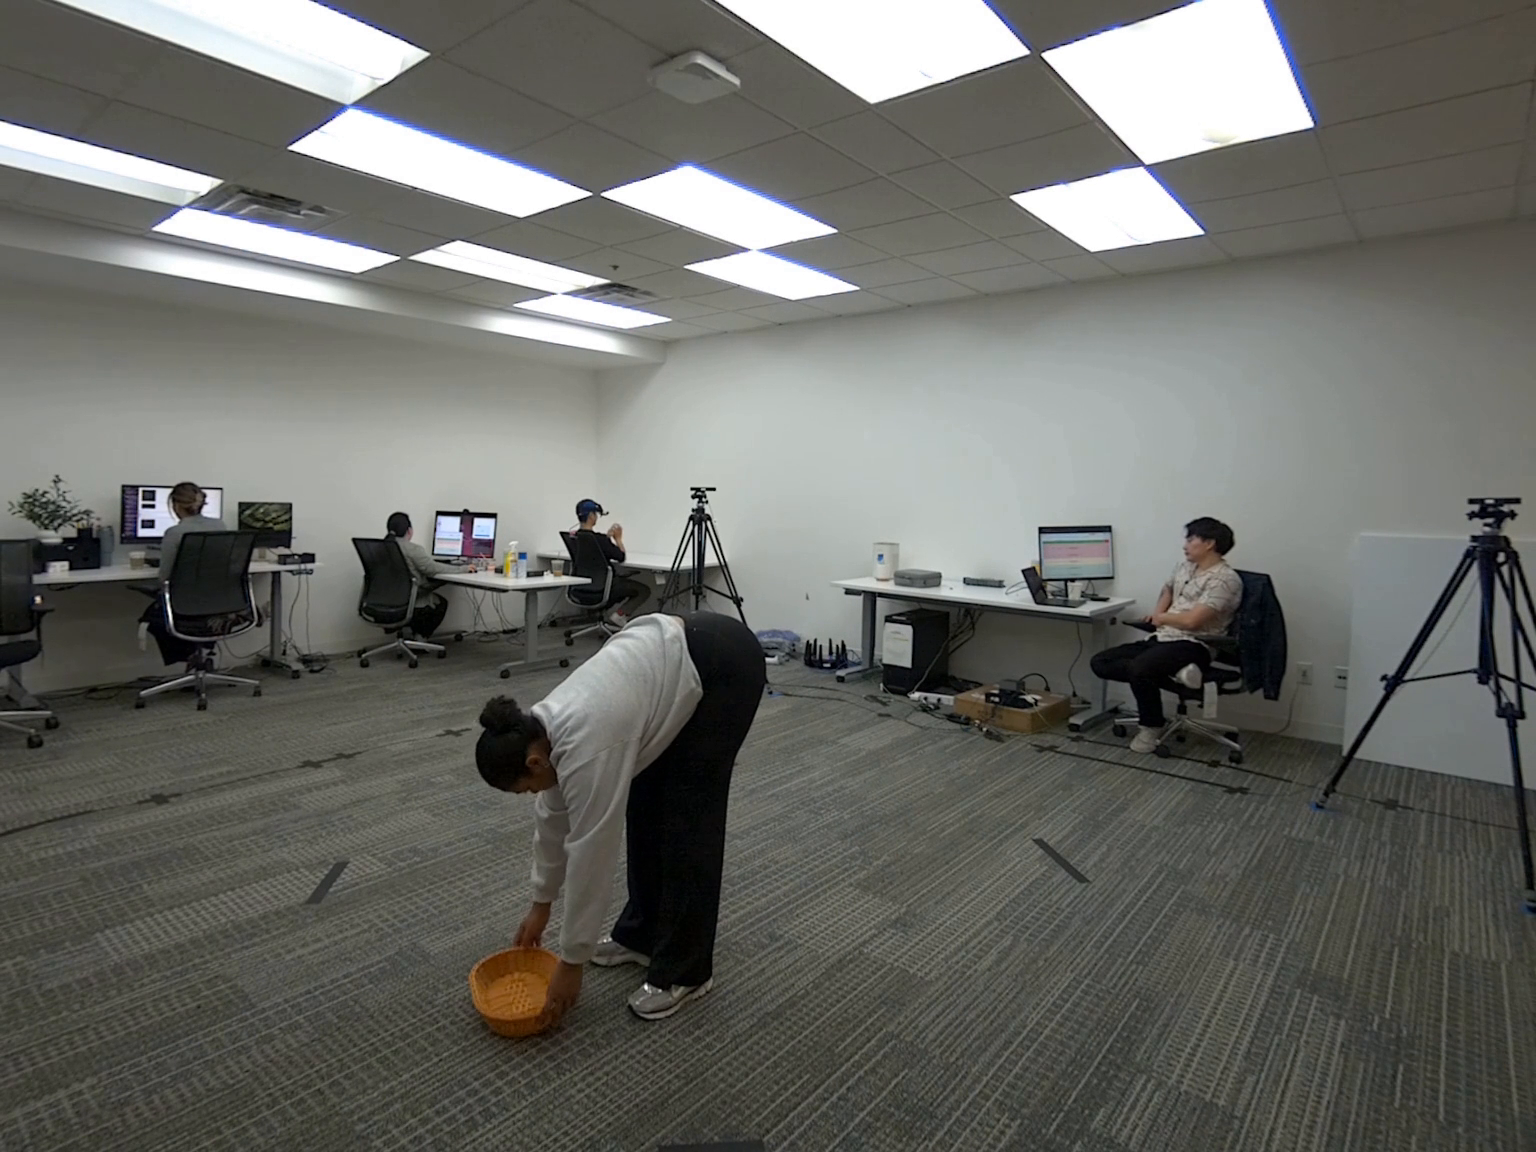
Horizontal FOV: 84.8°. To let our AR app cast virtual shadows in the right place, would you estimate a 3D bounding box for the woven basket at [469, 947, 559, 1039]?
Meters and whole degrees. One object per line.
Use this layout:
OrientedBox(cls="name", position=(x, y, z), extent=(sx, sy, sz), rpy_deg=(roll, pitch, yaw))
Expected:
OrientedBox(cls="woven basket", position=(-0.669, 1.092, 2.259), extent=(0.246, 0.073, 0.360), rpy_deg=(-2, 4, -26))
